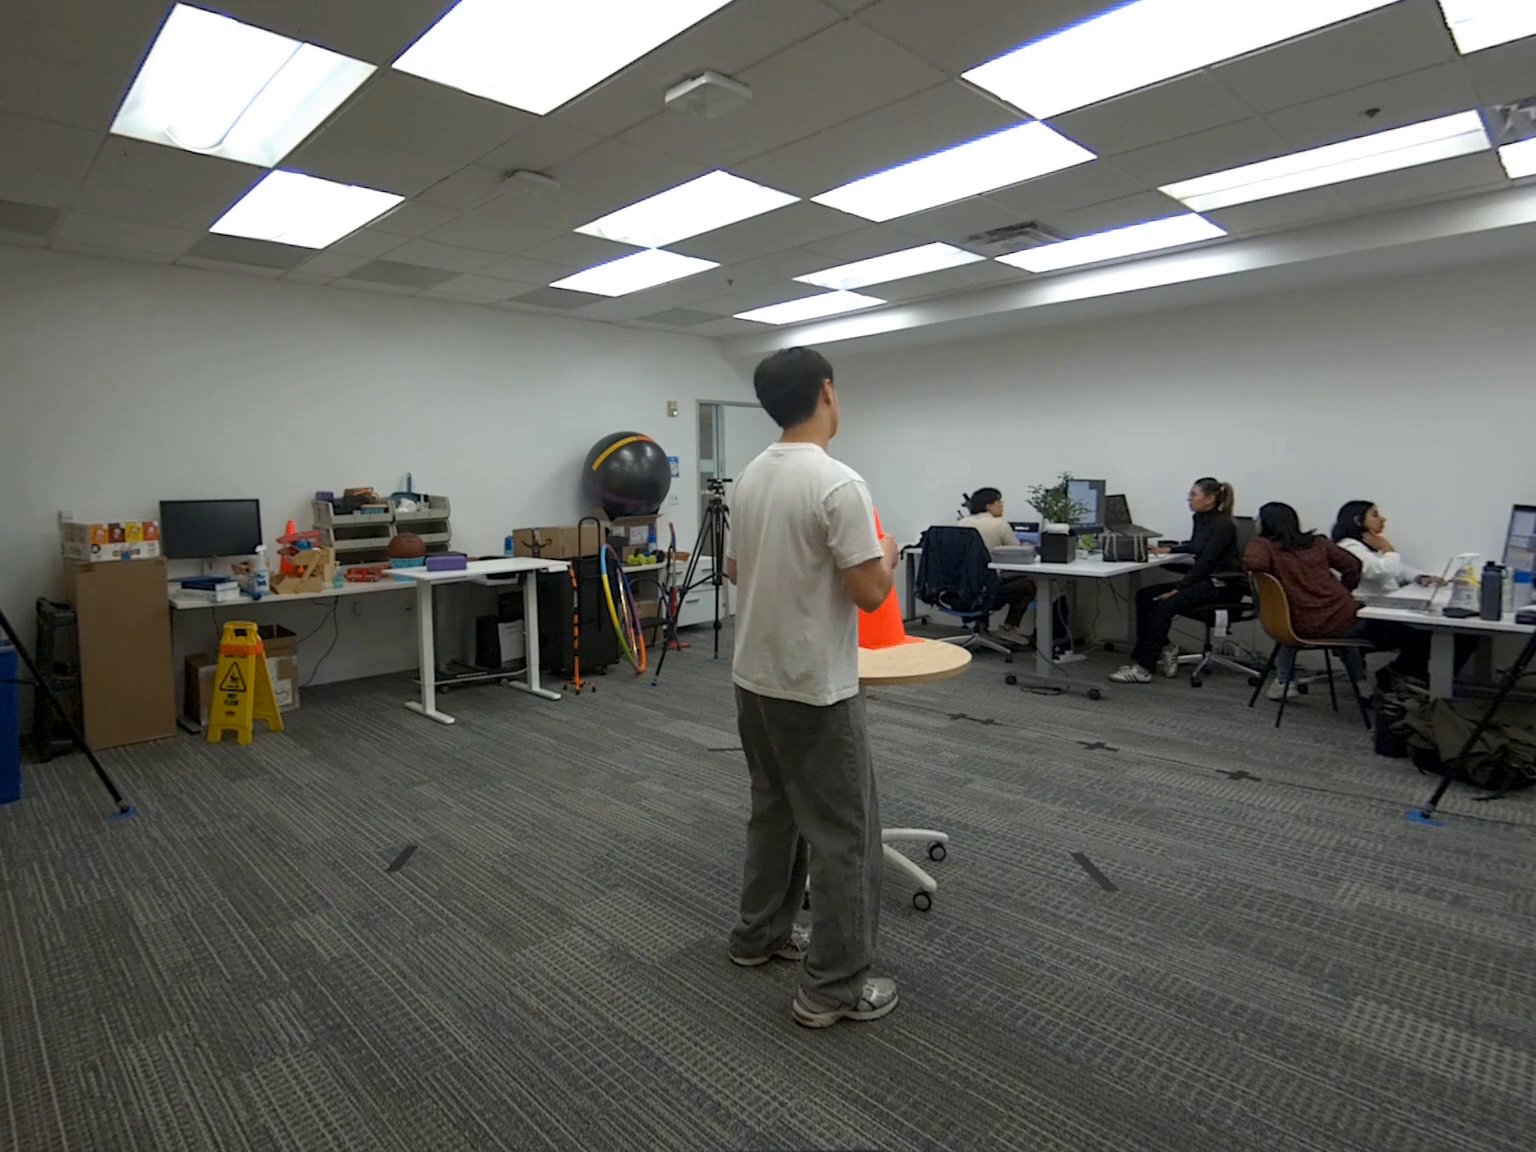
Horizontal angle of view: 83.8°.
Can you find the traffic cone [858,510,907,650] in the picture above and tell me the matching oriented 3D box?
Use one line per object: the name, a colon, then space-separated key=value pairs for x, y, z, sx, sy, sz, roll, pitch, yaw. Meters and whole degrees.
traffic cone: x=0.302 y=-0.001 z=2.422 sx=0.201 sy=0.382 sz=0.208 roll=-7 pitch=4 yaw=-16
